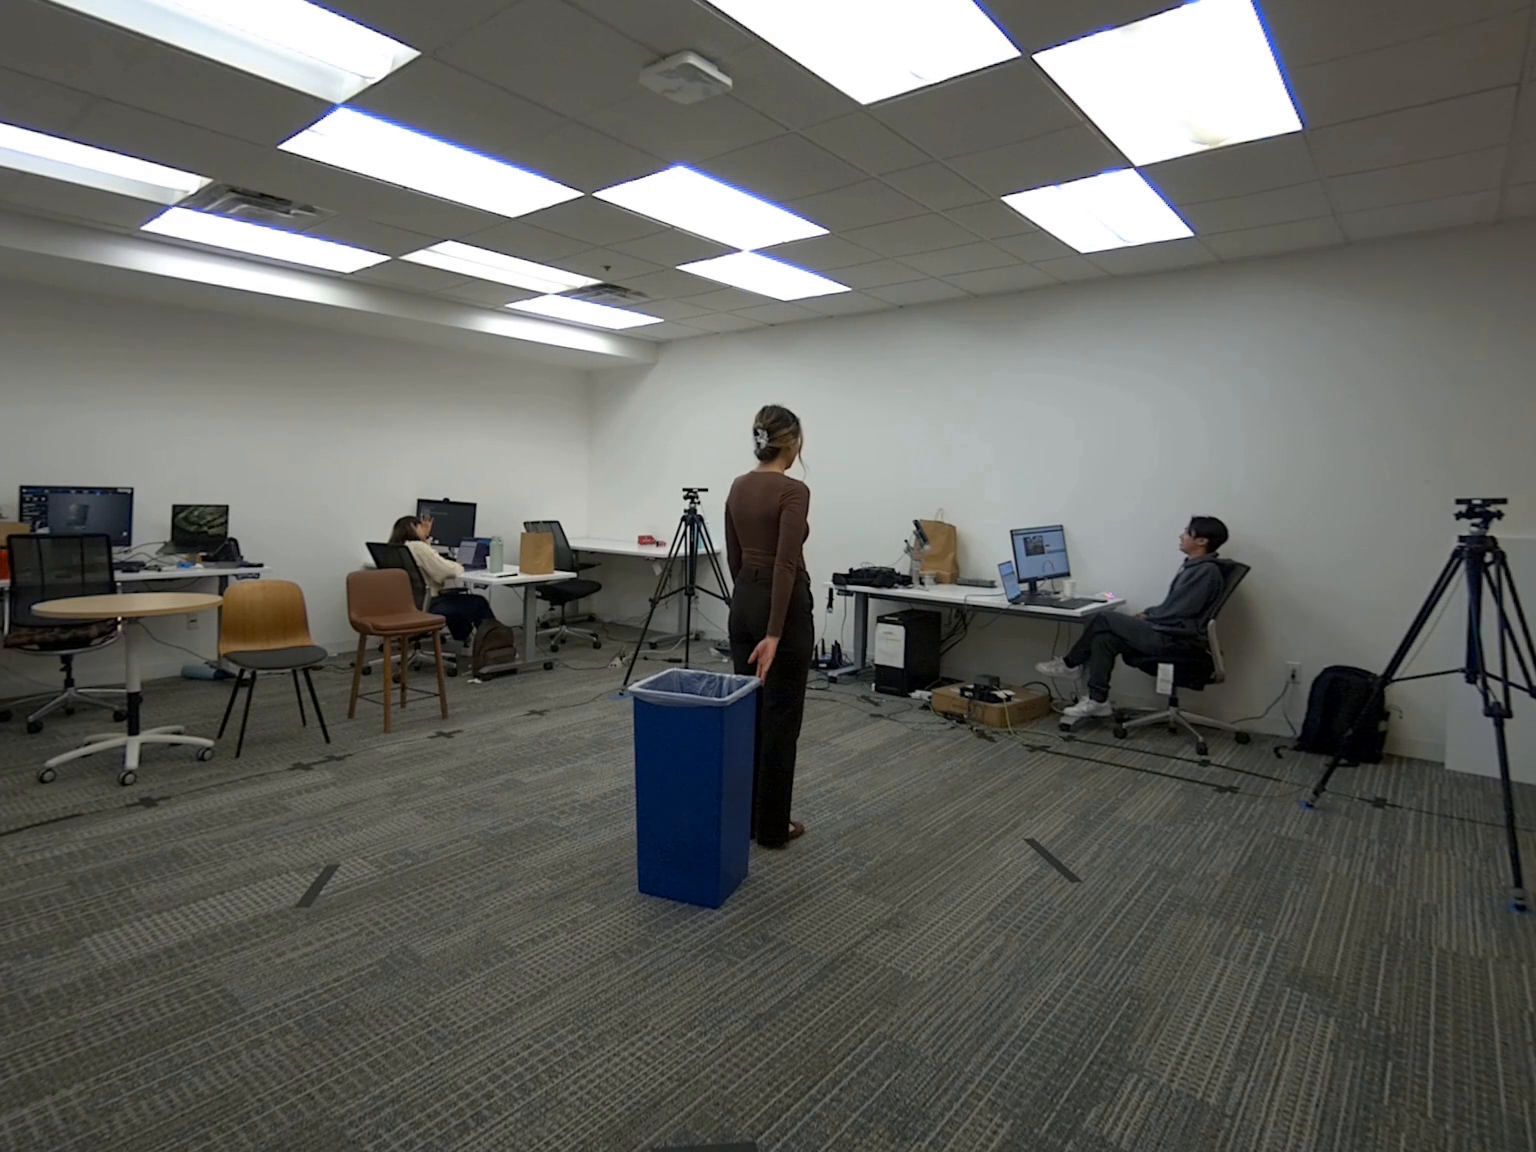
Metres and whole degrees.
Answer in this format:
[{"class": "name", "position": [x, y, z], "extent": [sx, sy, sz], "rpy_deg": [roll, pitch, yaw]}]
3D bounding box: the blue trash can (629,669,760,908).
[{"class": "blue trash can", "position": [-0.261, 0.721, 2.985], "extent": [0.382, 0.712, 0.371], "rpy_deg": [1, 3, 20]}]
